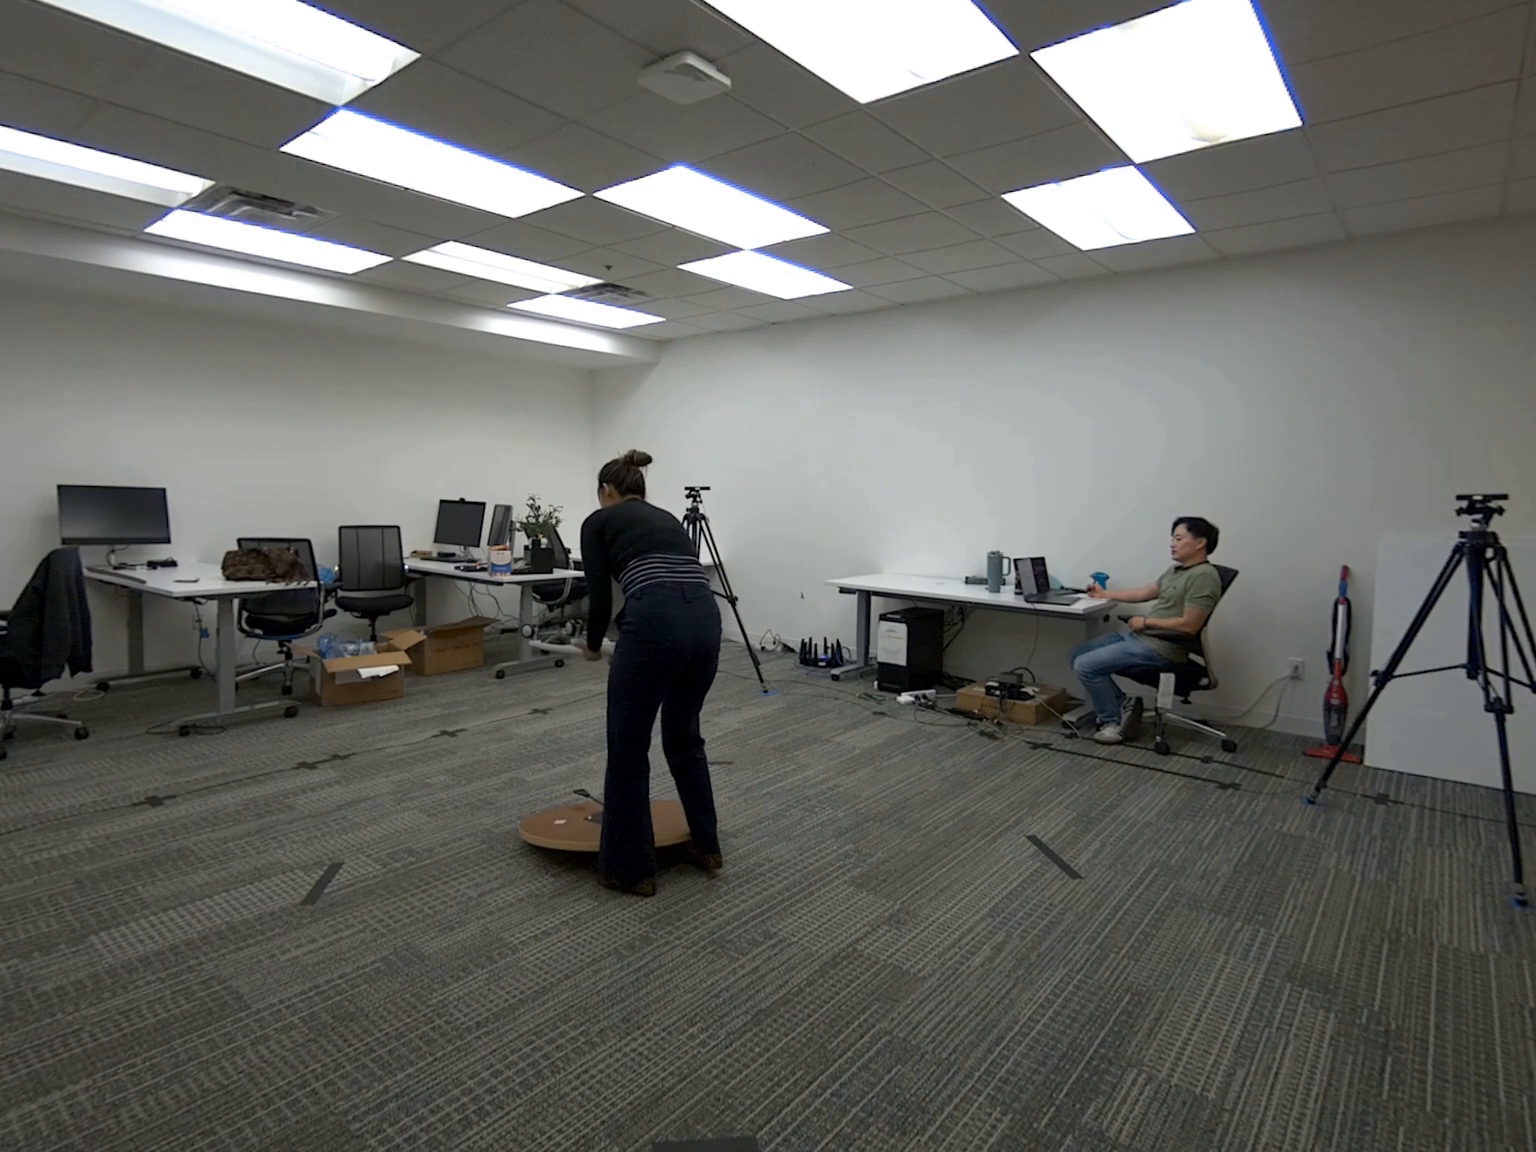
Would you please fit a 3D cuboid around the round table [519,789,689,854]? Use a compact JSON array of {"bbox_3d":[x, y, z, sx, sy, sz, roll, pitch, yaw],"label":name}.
[{"bbox_3d":[-0.618,0.589,3.394,0.763,0.798,0.761,-1,-4,-2],"label":"round table"}]
